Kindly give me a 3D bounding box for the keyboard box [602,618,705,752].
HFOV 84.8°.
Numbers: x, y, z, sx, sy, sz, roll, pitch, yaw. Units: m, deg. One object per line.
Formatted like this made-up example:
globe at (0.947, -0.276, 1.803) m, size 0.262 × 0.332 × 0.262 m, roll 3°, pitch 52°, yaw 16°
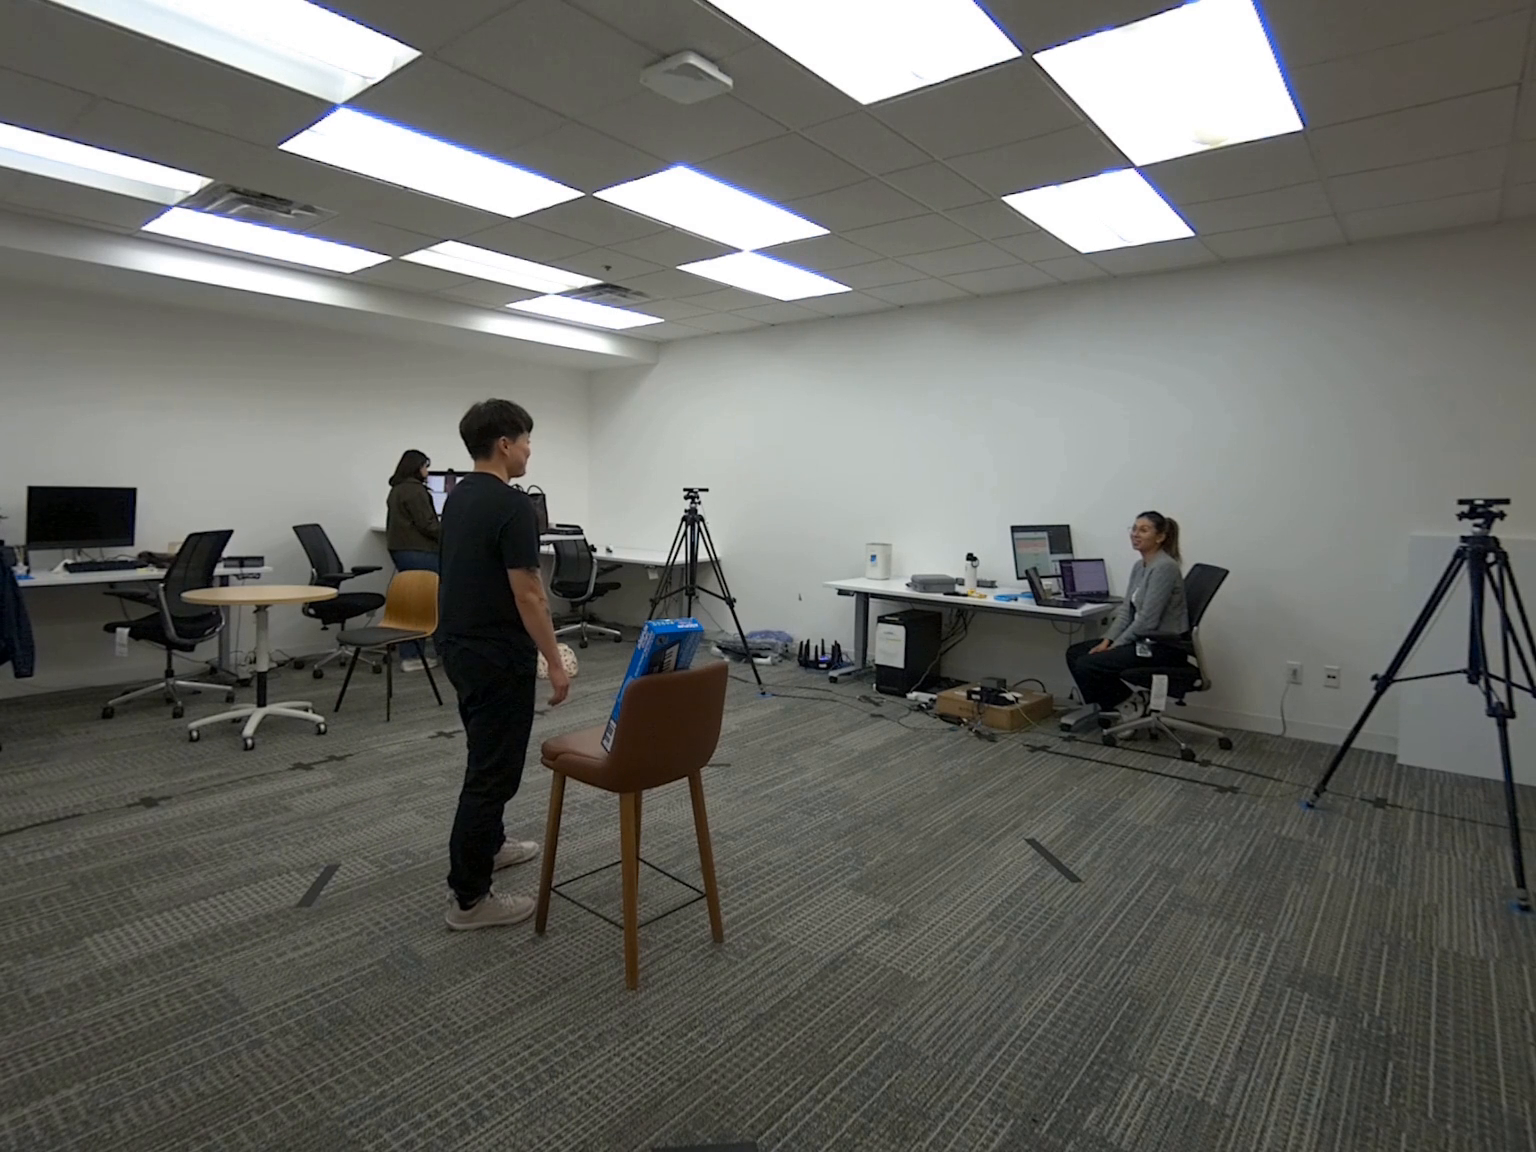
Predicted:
keyboard box at (-0.344, 0.319, 2.437) m, size 0.170 × 0.432 × 0.061 m, roll 0°, pitch 32°, yaw -43°
